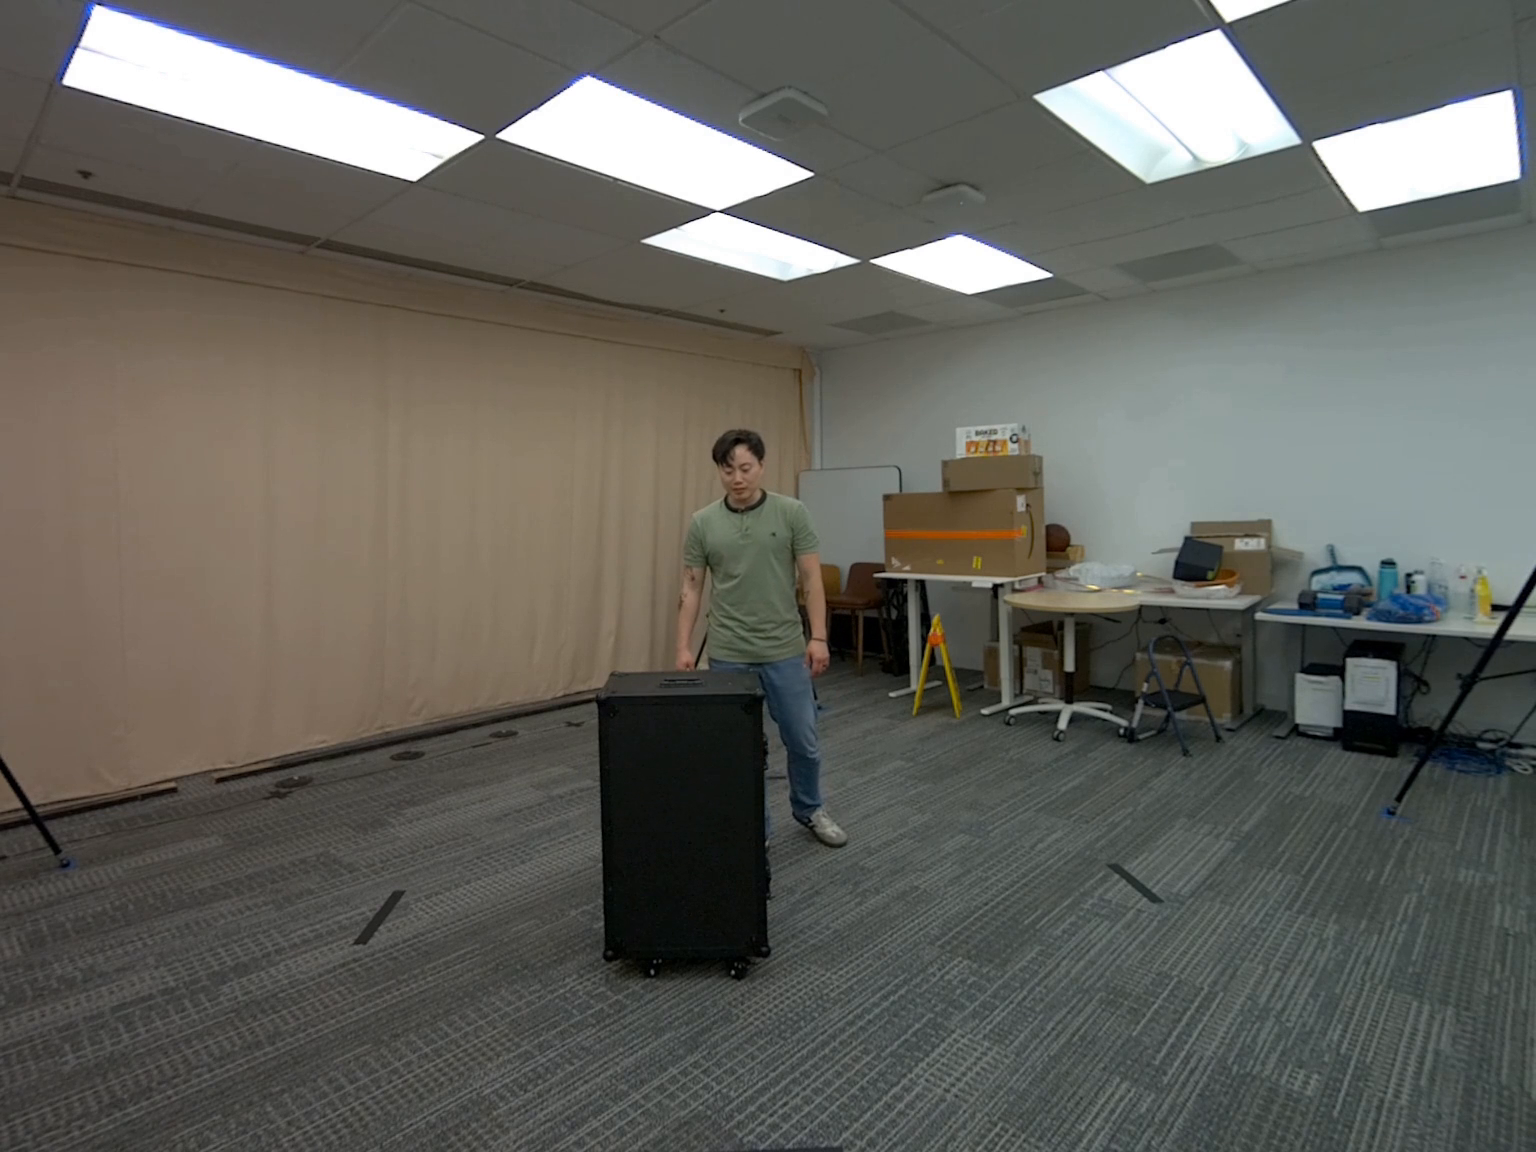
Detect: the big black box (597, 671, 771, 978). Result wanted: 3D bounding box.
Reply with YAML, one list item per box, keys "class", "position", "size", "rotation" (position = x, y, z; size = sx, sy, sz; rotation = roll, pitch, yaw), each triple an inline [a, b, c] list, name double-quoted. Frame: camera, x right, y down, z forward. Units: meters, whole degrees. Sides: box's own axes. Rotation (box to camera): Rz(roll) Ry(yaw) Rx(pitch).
- class: "big black box"
  position: [-0.265, 0.750, 2.623]
  size: [0.522, 0.860, 0.396]
  rotation: [-1, 2, 0]
